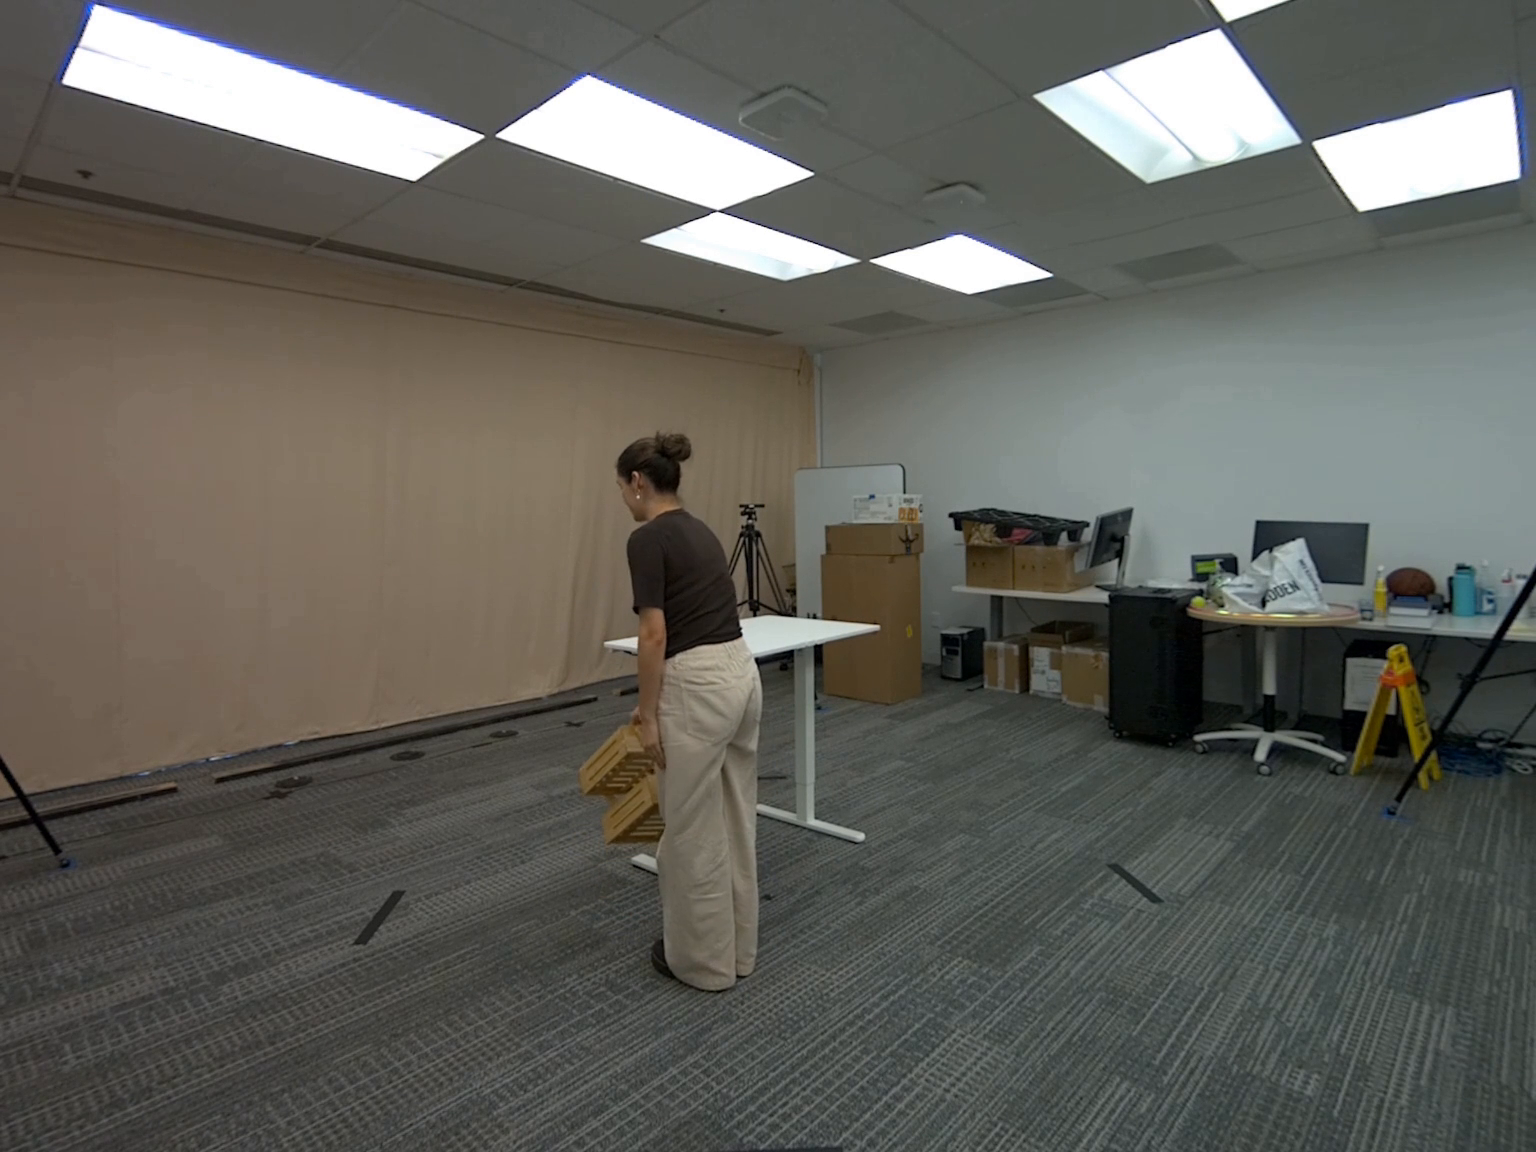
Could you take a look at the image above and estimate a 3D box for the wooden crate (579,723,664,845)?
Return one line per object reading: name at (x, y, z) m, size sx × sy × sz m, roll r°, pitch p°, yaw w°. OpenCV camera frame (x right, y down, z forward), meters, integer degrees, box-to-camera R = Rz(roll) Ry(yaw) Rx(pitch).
wooden crate at (-0.392, 0.681, 2.740) m, size 0.292 × 0.280 × 0.327 m, roll 11°, pitch -43°, yaw -38°
